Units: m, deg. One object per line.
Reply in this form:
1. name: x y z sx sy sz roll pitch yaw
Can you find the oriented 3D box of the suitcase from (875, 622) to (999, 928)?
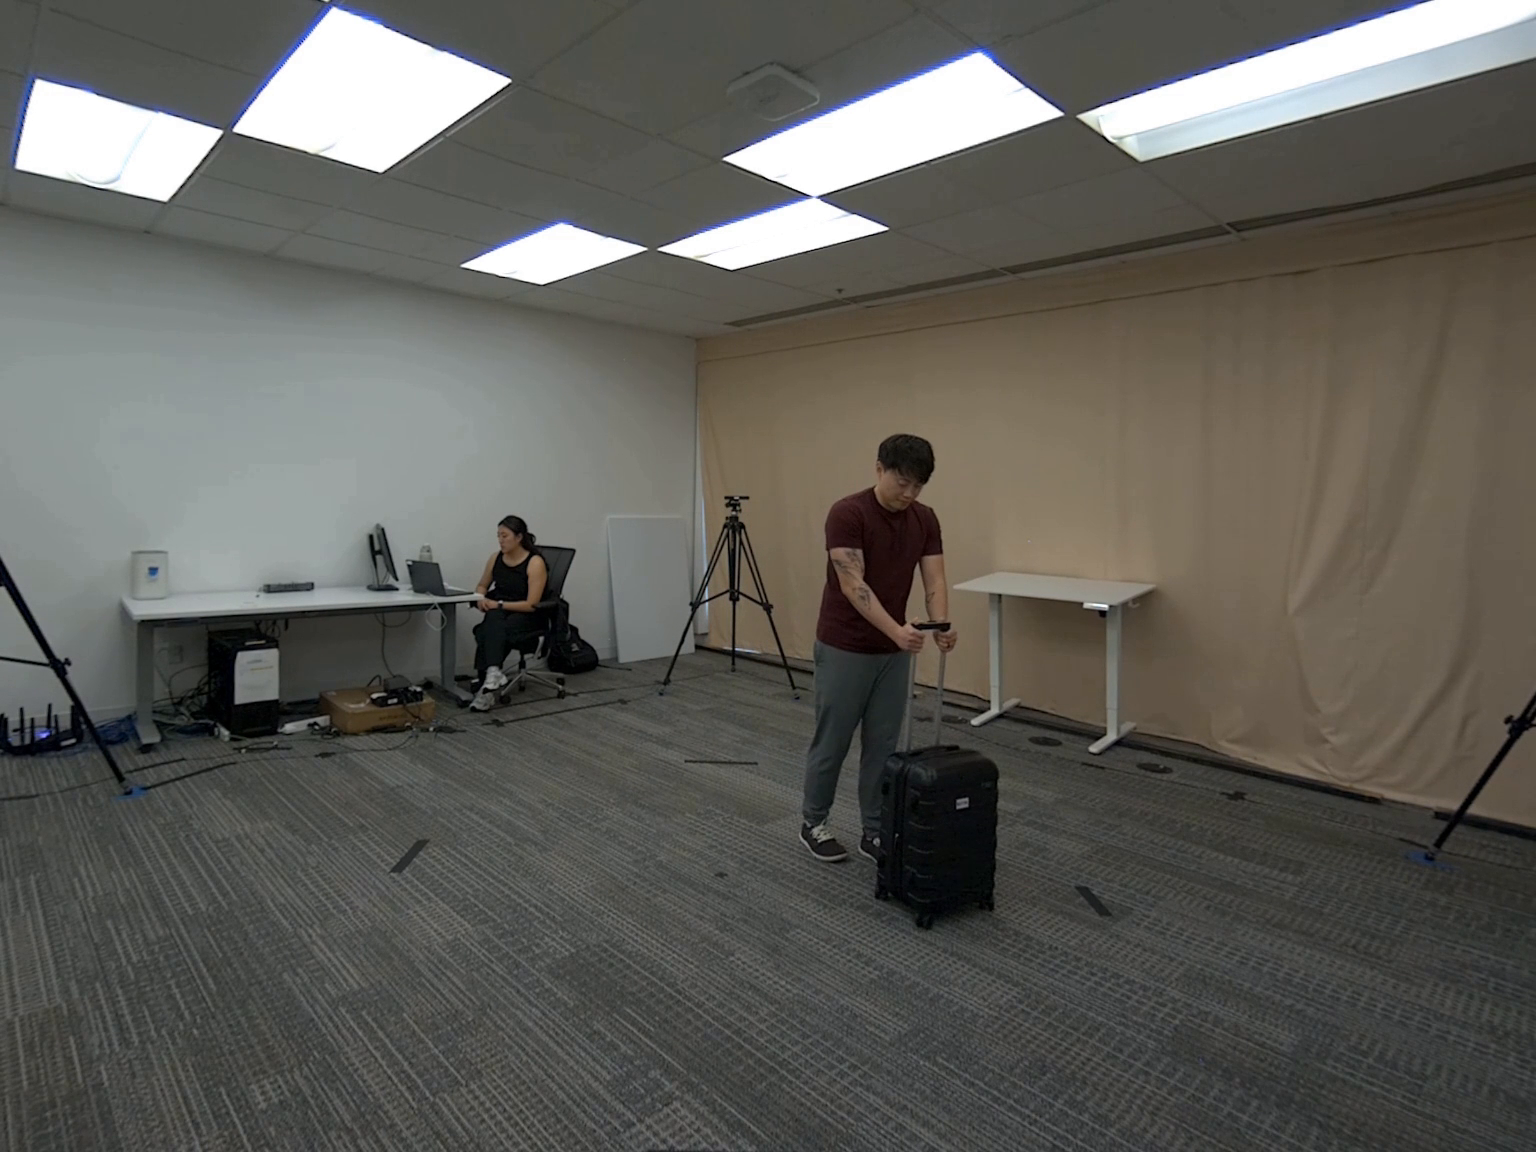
1. suitcase: 0.586 0.669 2.864 0.377 0.974 0.263 -2 7 -26
